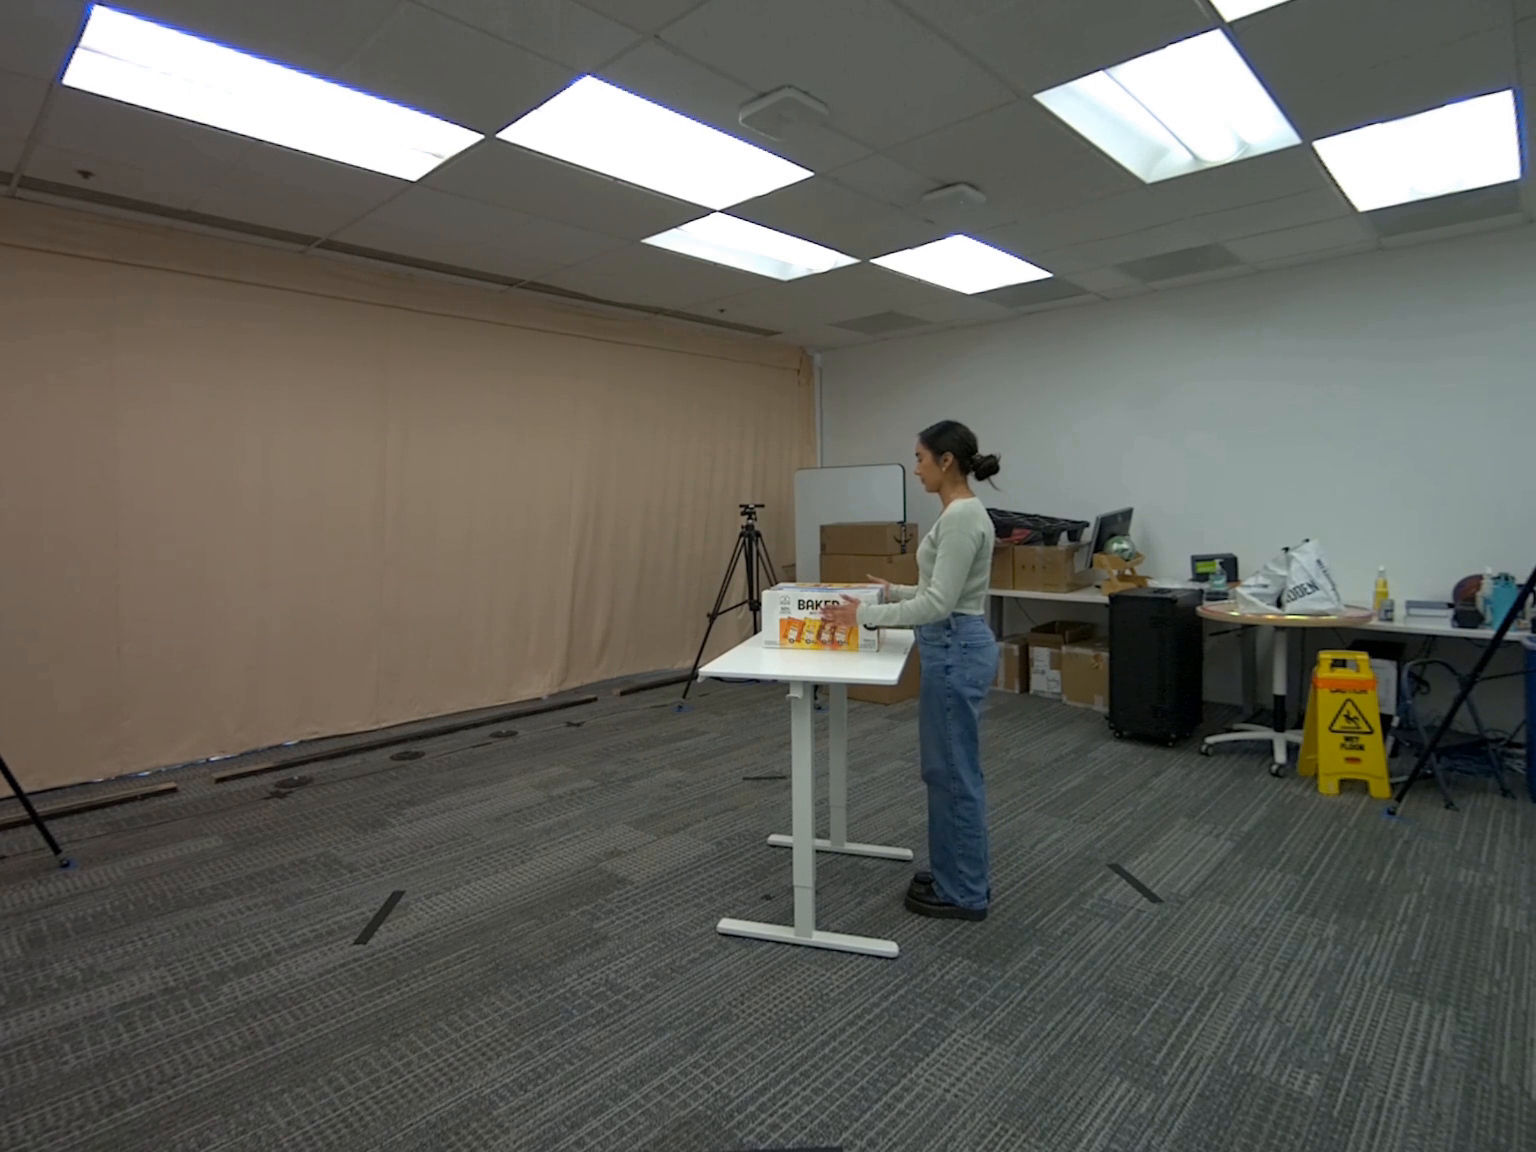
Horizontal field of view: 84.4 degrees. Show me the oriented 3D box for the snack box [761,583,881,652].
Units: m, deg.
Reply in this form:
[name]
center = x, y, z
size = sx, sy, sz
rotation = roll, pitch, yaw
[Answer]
[snack box]
center = 0.210, 0.144, 3.084
size = 0.412, 0.205, 0.335
rotation = 1, 4, 15
